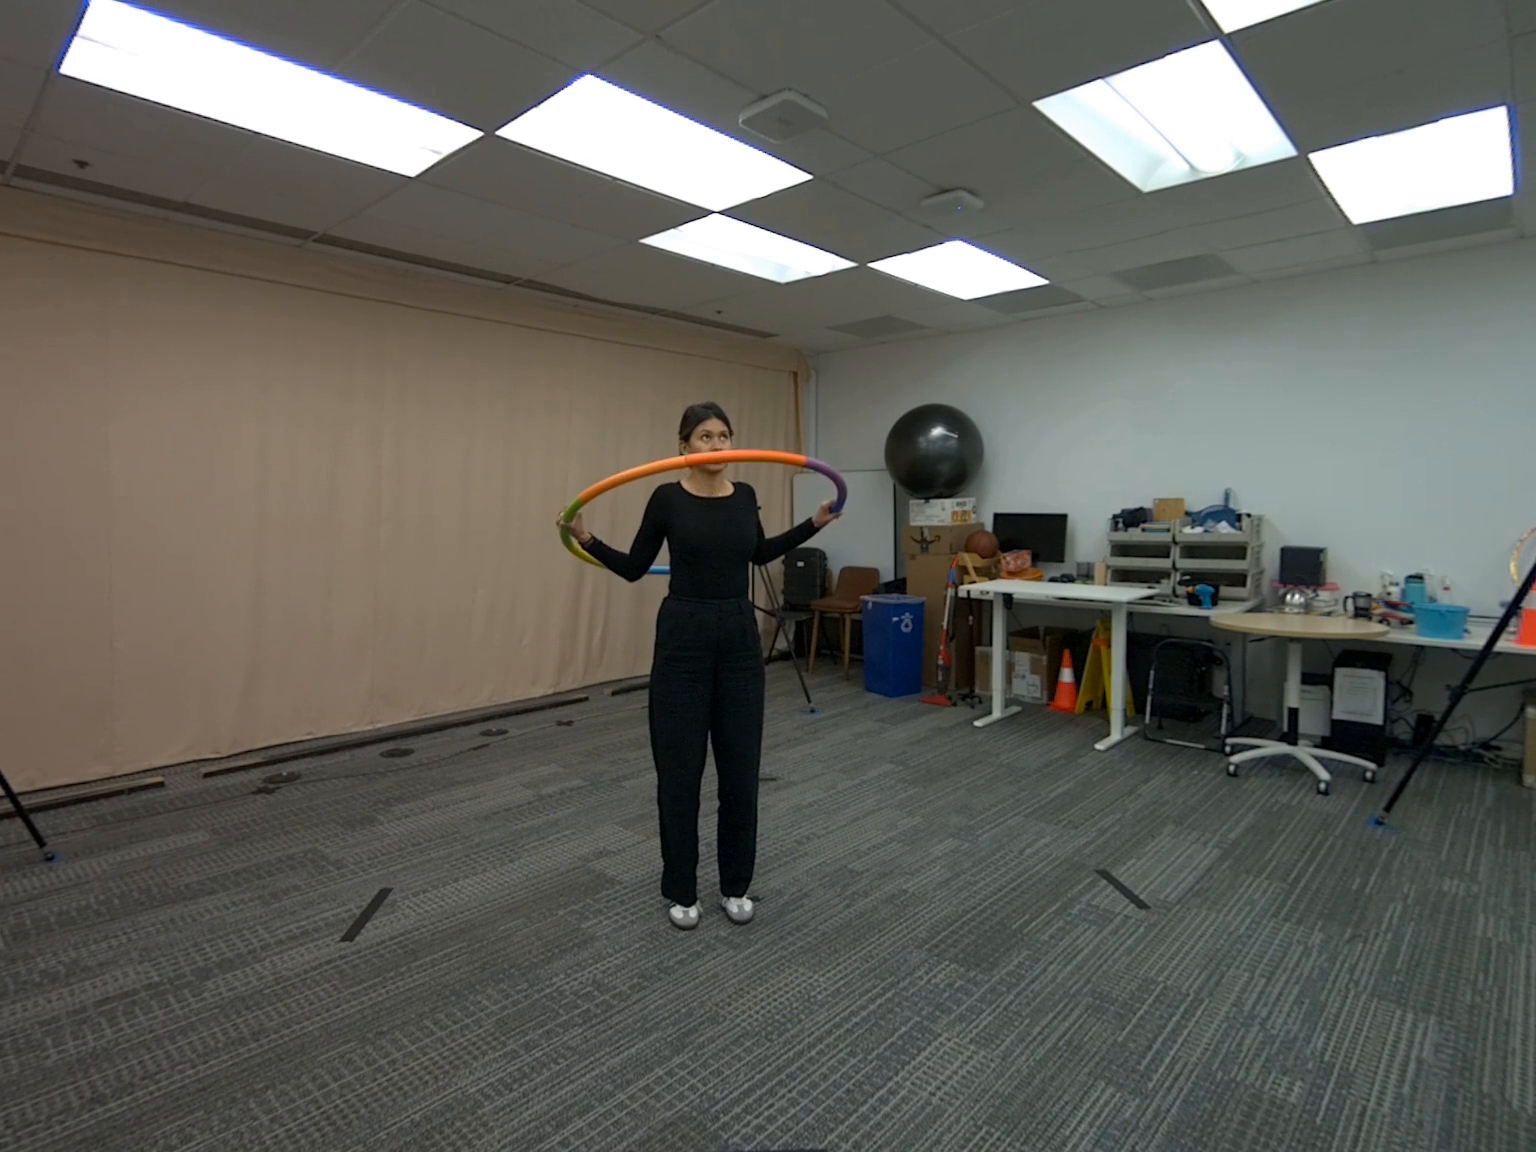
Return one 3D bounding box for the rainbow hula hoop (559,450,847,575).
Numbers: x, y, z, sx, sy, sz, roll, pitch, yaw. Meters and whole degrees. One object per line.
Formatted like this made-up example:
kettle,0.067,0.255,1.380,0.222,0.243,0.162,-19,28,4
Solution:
rainbow hula hoop,-0.225,-0.190,2.870,0.975,0.036,0.968,-8,-17,-4
